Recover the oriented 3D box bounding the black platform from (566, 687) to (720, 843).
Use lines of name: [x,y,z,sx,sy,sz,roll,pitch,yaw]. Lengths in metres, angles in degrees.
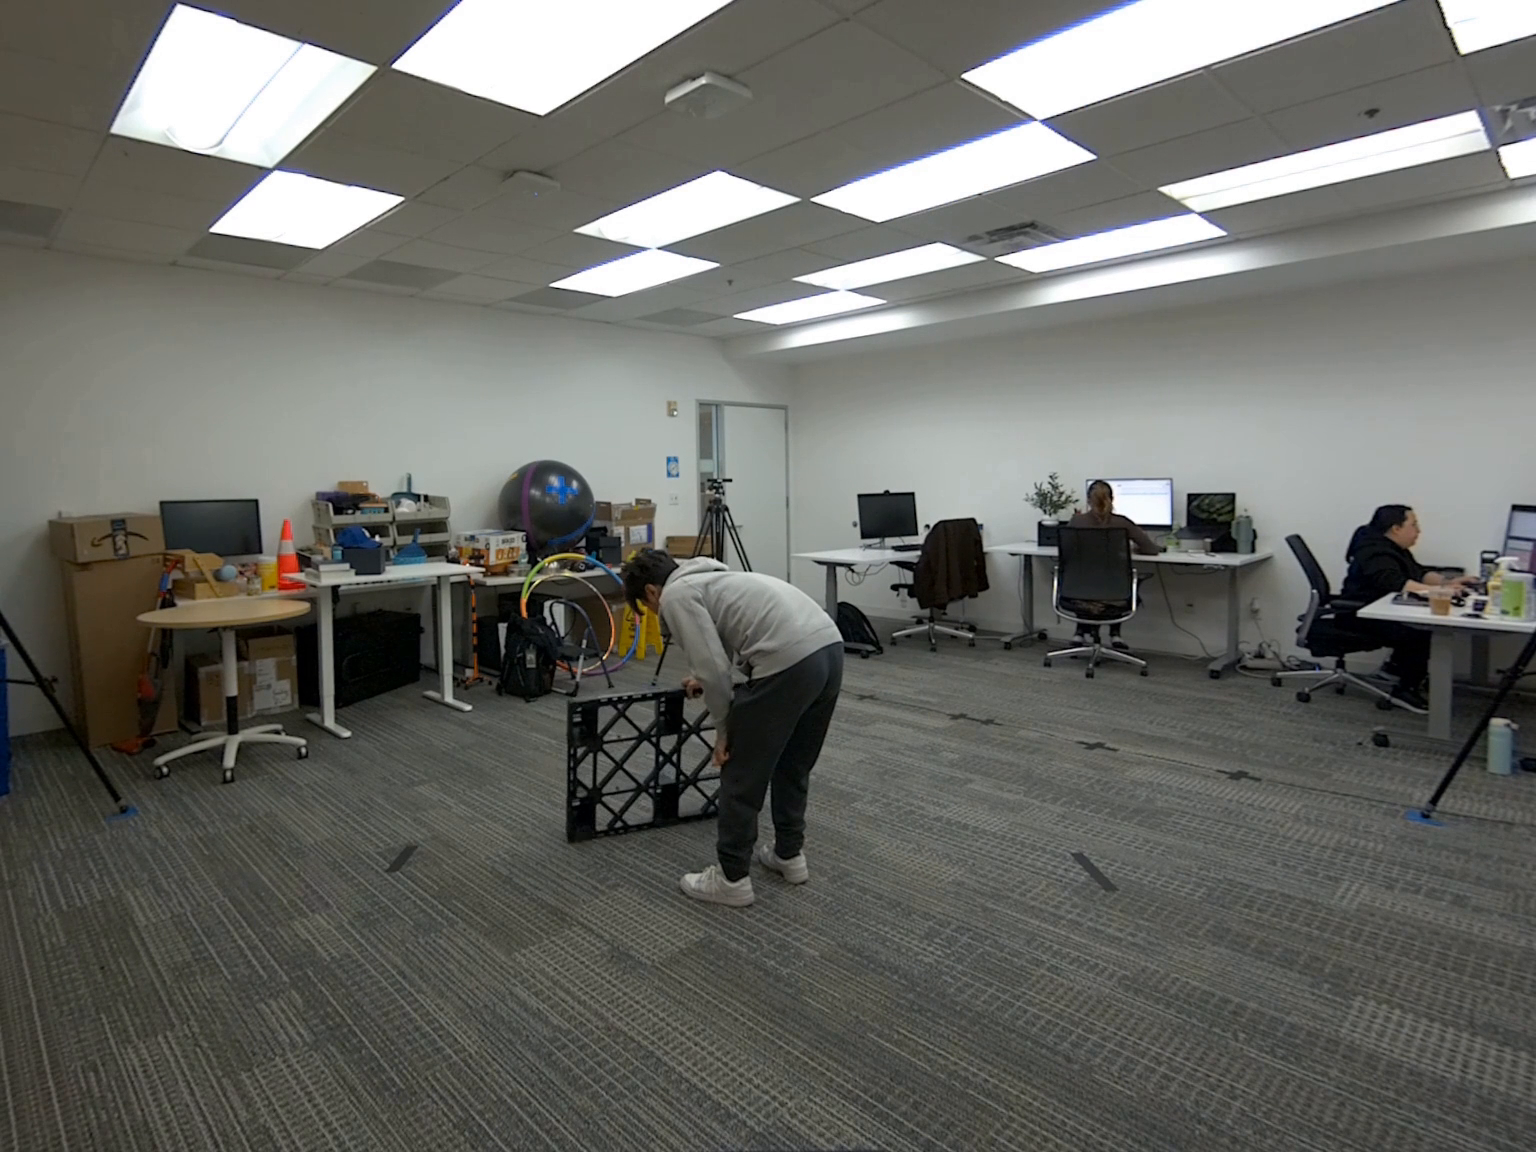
black platform: [-0.408,0.713,3.418,0.790,0.597,0.148,-3,17,-22]
